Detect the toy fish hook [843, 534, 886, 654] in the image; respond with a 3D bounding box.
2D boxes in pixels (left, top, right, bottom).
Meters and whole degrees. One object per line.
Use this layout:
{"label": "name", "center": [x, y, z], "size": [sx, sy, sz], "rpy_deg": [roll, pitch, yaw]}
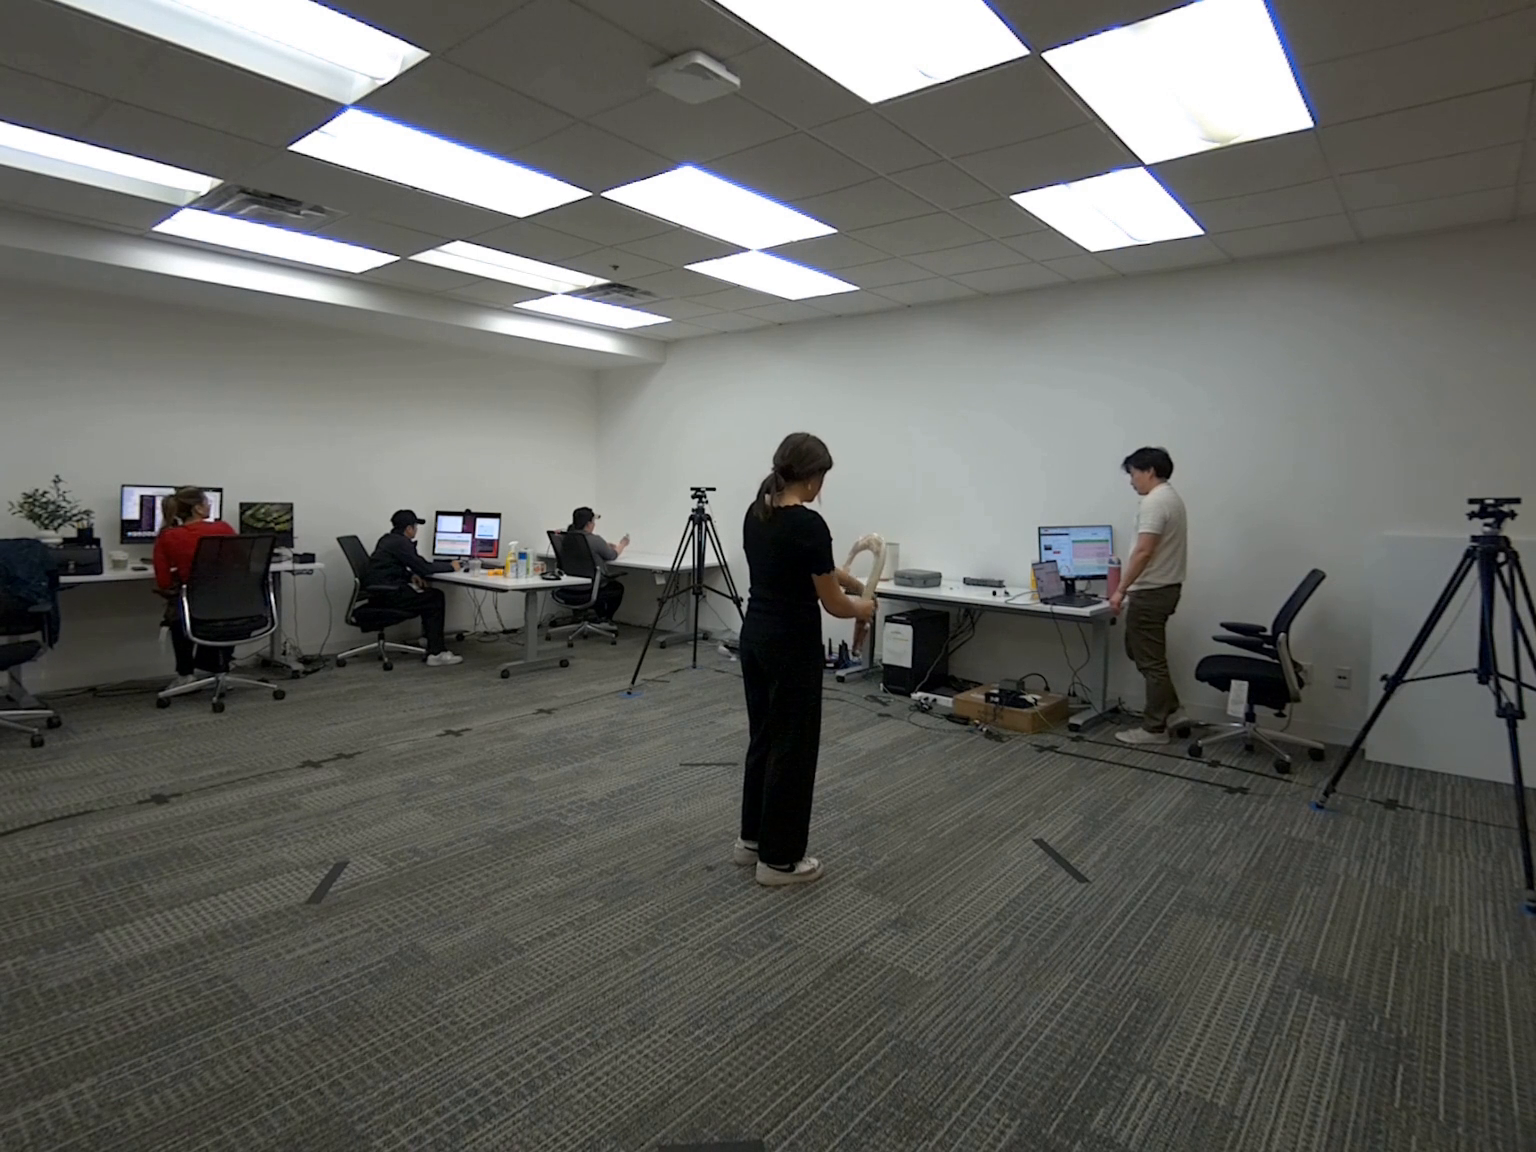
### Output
{"label": "toy fish hook", "center": [0.339, 0.077, 3.247], "size": [0.047, 0.513, 0.229], "rpy_deg": [24, -23, -27]}
